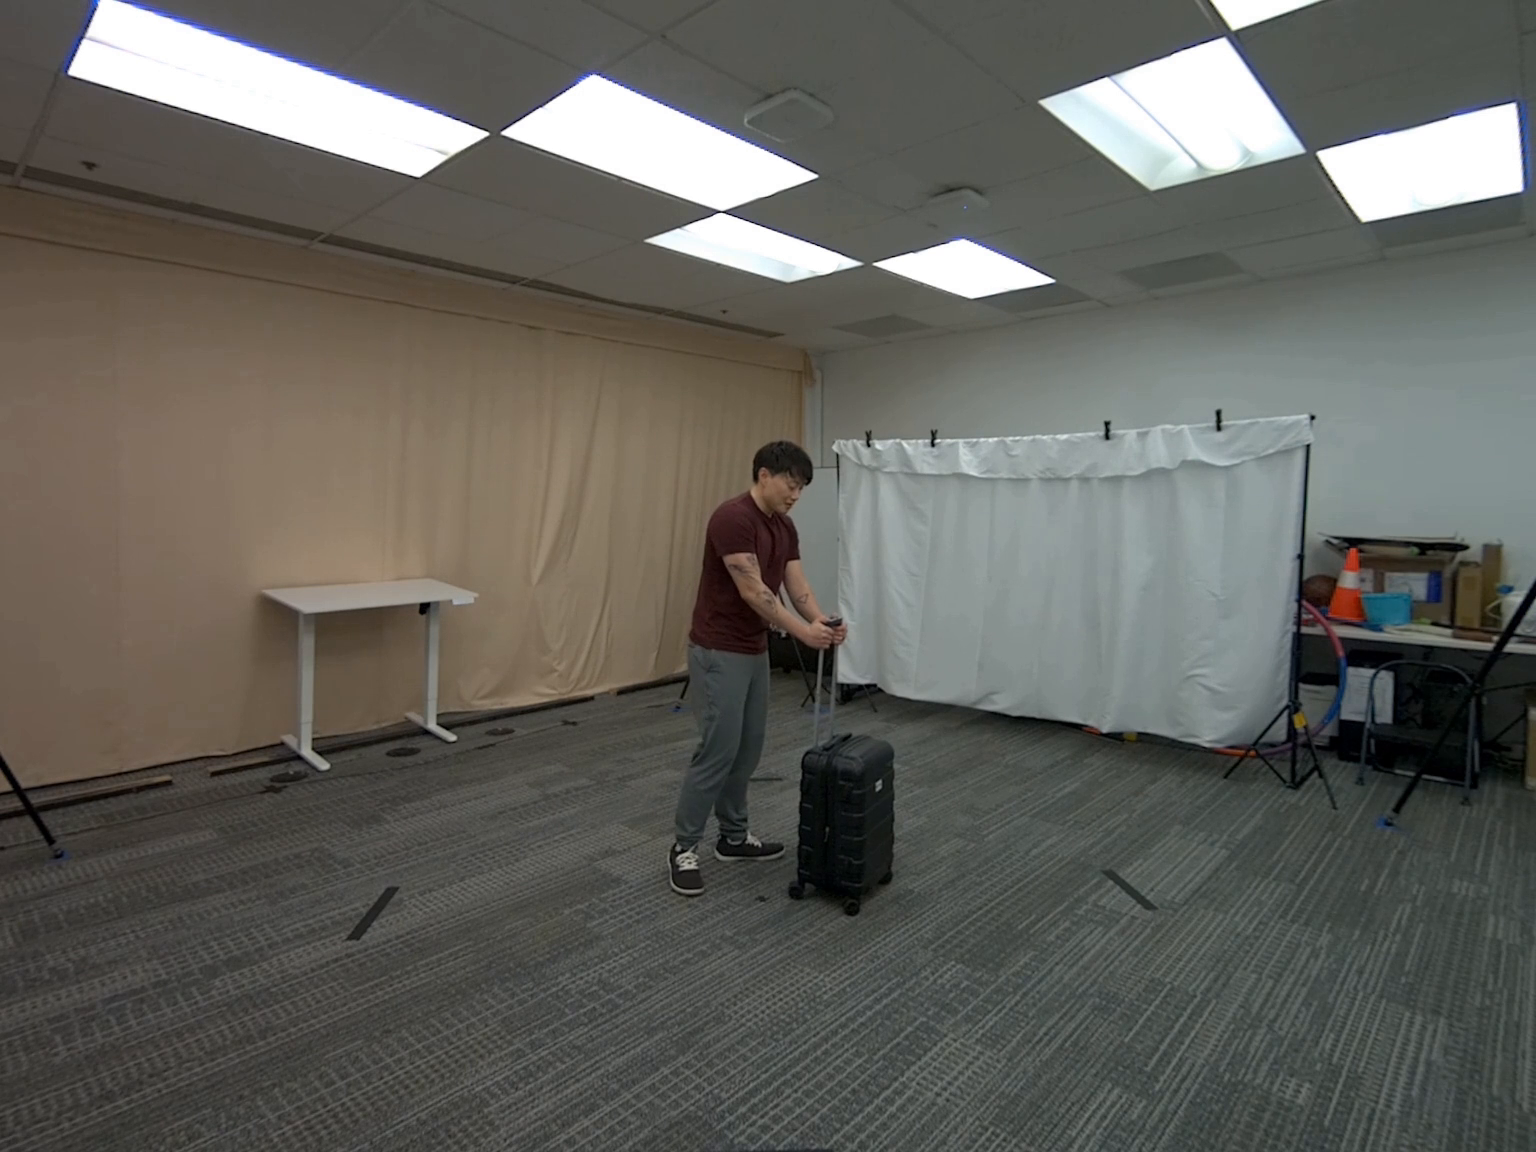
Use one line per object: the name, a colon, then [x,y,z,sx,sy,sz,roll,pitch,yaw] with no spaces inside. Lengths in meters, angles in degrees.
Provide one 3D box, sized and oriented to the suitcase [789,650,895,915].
suitcase: [0.303,0.664,3.020,0.265,0.976,0.374,6,5,29]
